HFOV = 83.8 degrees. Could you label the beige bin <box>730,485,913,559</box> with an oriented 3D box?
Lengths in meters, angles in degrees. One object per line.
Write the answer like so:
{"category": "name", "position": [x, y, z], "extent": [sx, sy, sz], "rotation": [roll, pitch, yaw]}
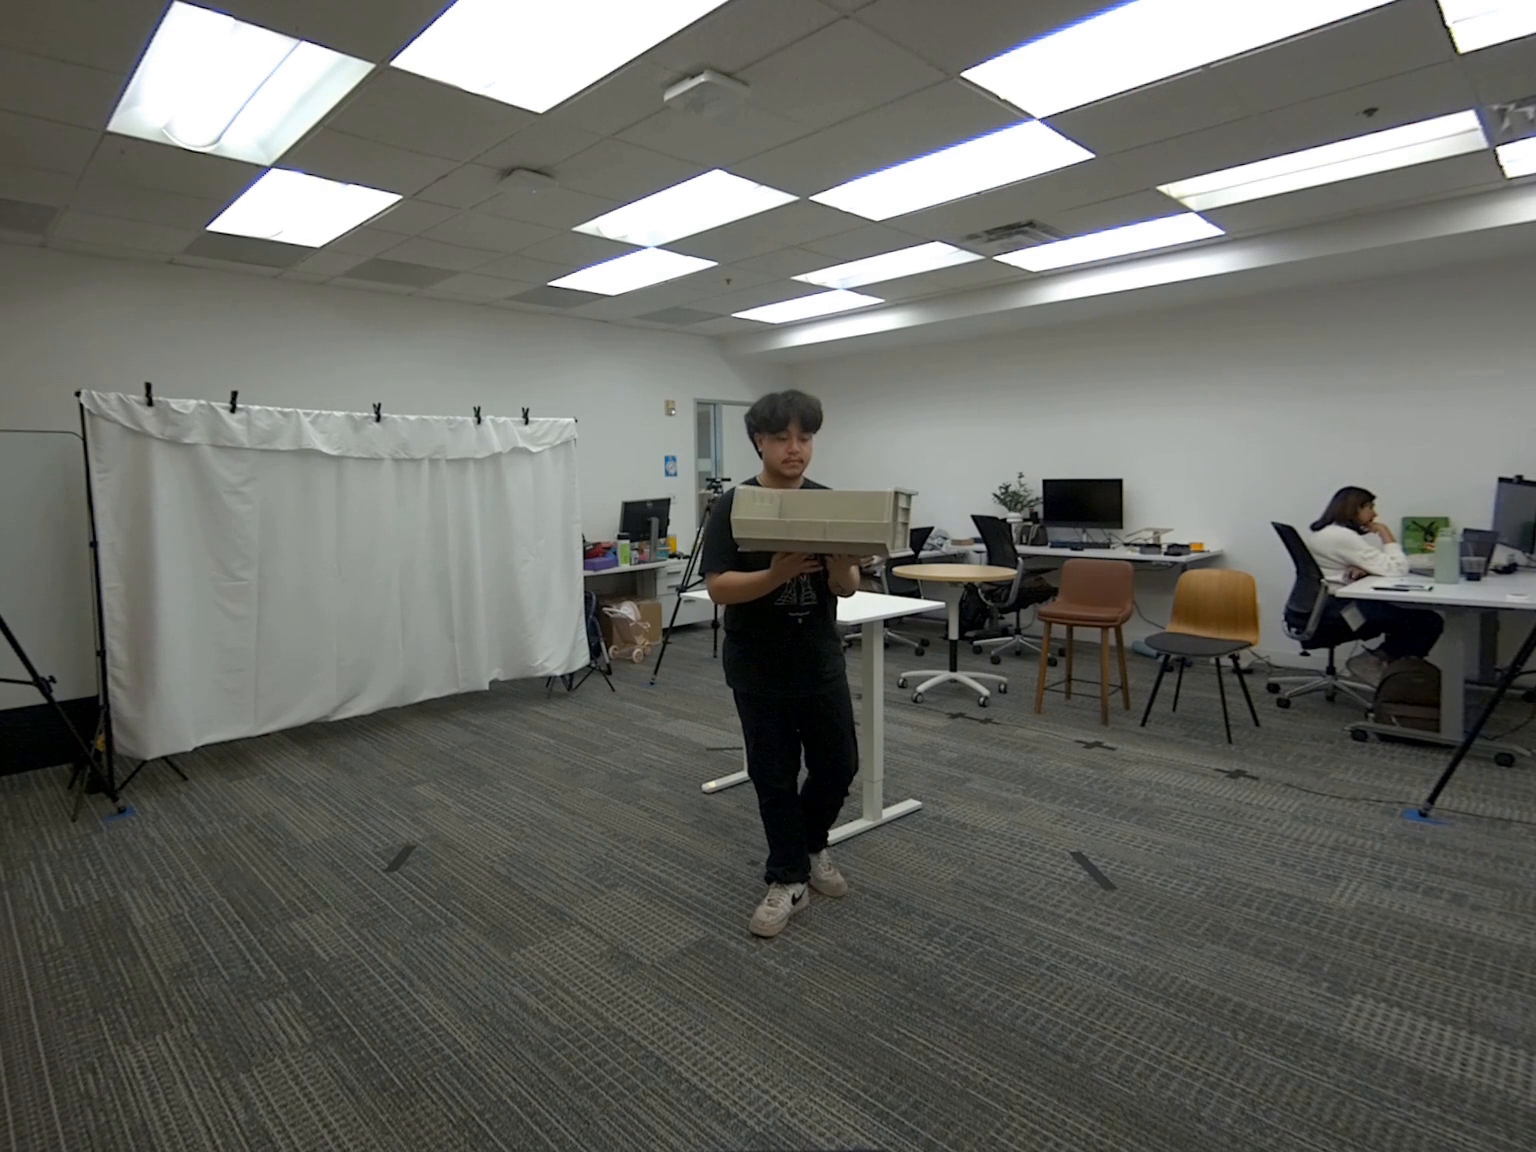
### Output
{"category": "beige bin", "position": [0.160, -0.151, 2.325], "extent": [0.431, 0.189, 0.370], "rotation": [1, 2, 20]}
